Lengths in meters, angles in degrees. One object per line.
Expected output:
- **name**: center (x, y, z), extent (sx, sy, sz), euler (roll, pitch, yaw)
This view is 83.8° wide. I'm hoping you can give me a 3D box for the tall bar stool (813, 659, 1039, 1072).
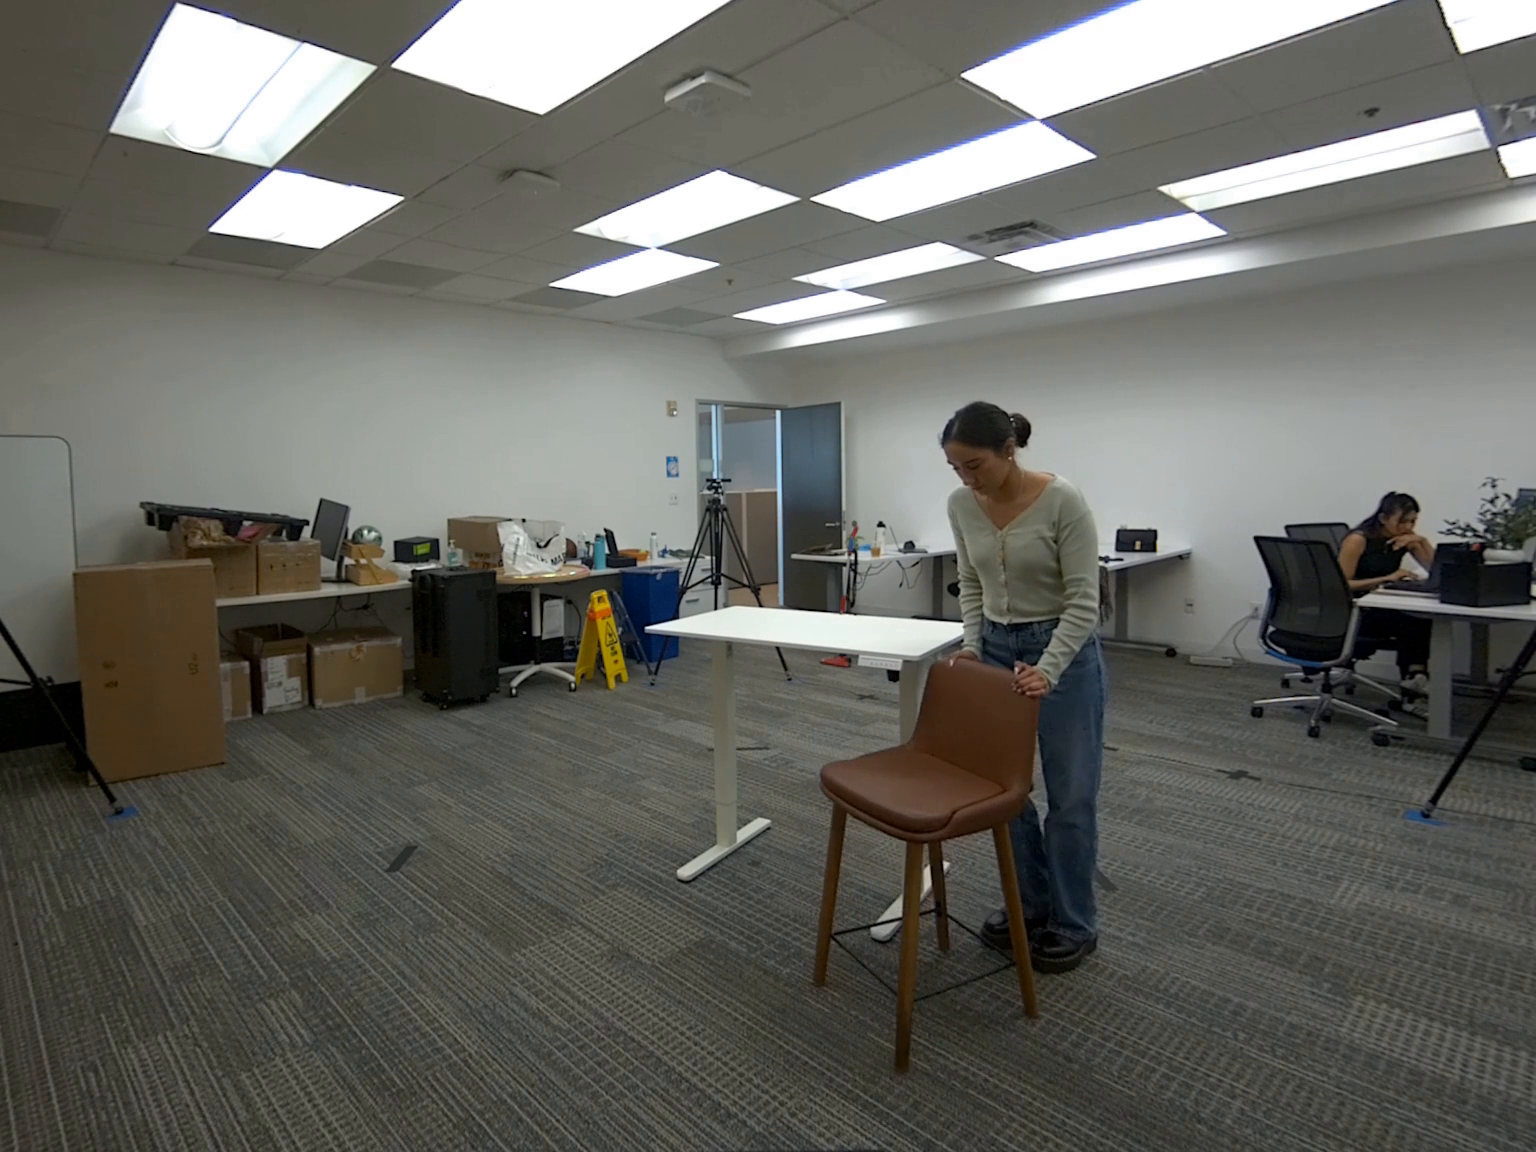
- **tall bar stool**: center (0.422, 0.698, 2.250), extent (0.457, 0.887, 0.468), euler (-1, 4, -27)
